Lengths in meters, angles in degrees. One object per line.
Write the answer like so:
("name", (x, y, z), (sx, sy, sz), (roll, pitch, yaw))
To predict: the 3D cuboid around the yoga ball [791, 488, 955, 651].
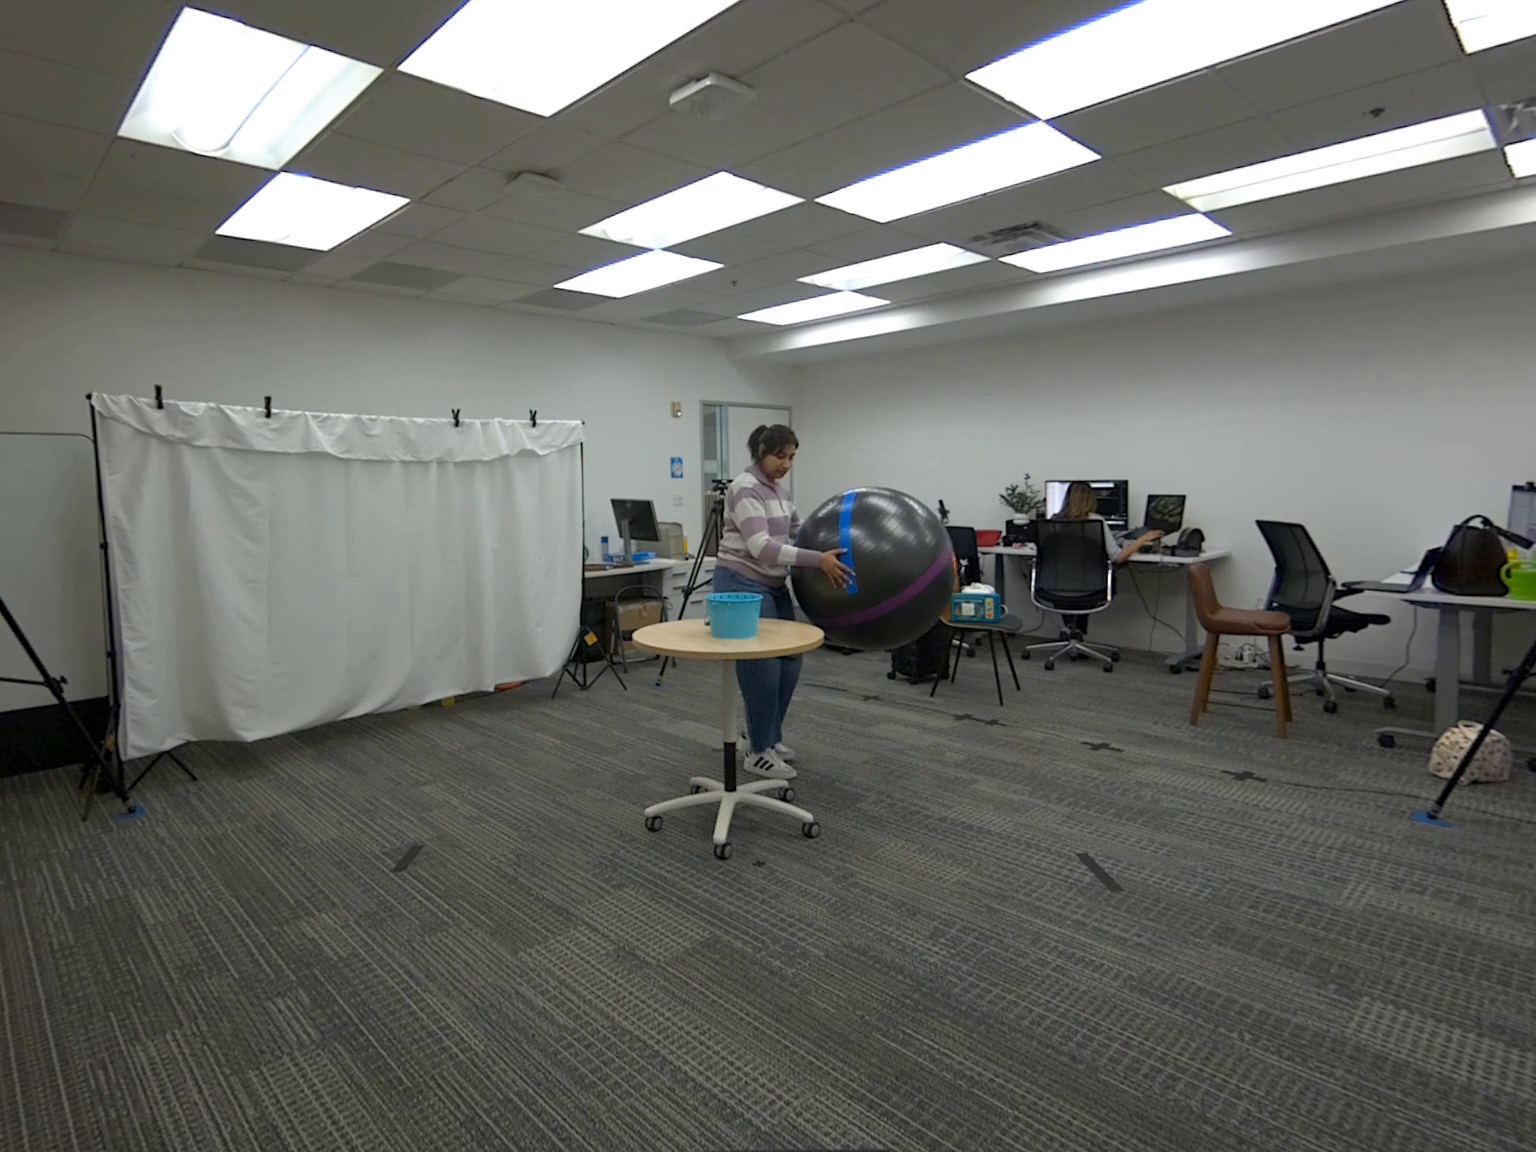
("yoga ball", (0.488, -0.028, 3.991), (0.757, 0.755, 0.762), (-1, 5, -2))
